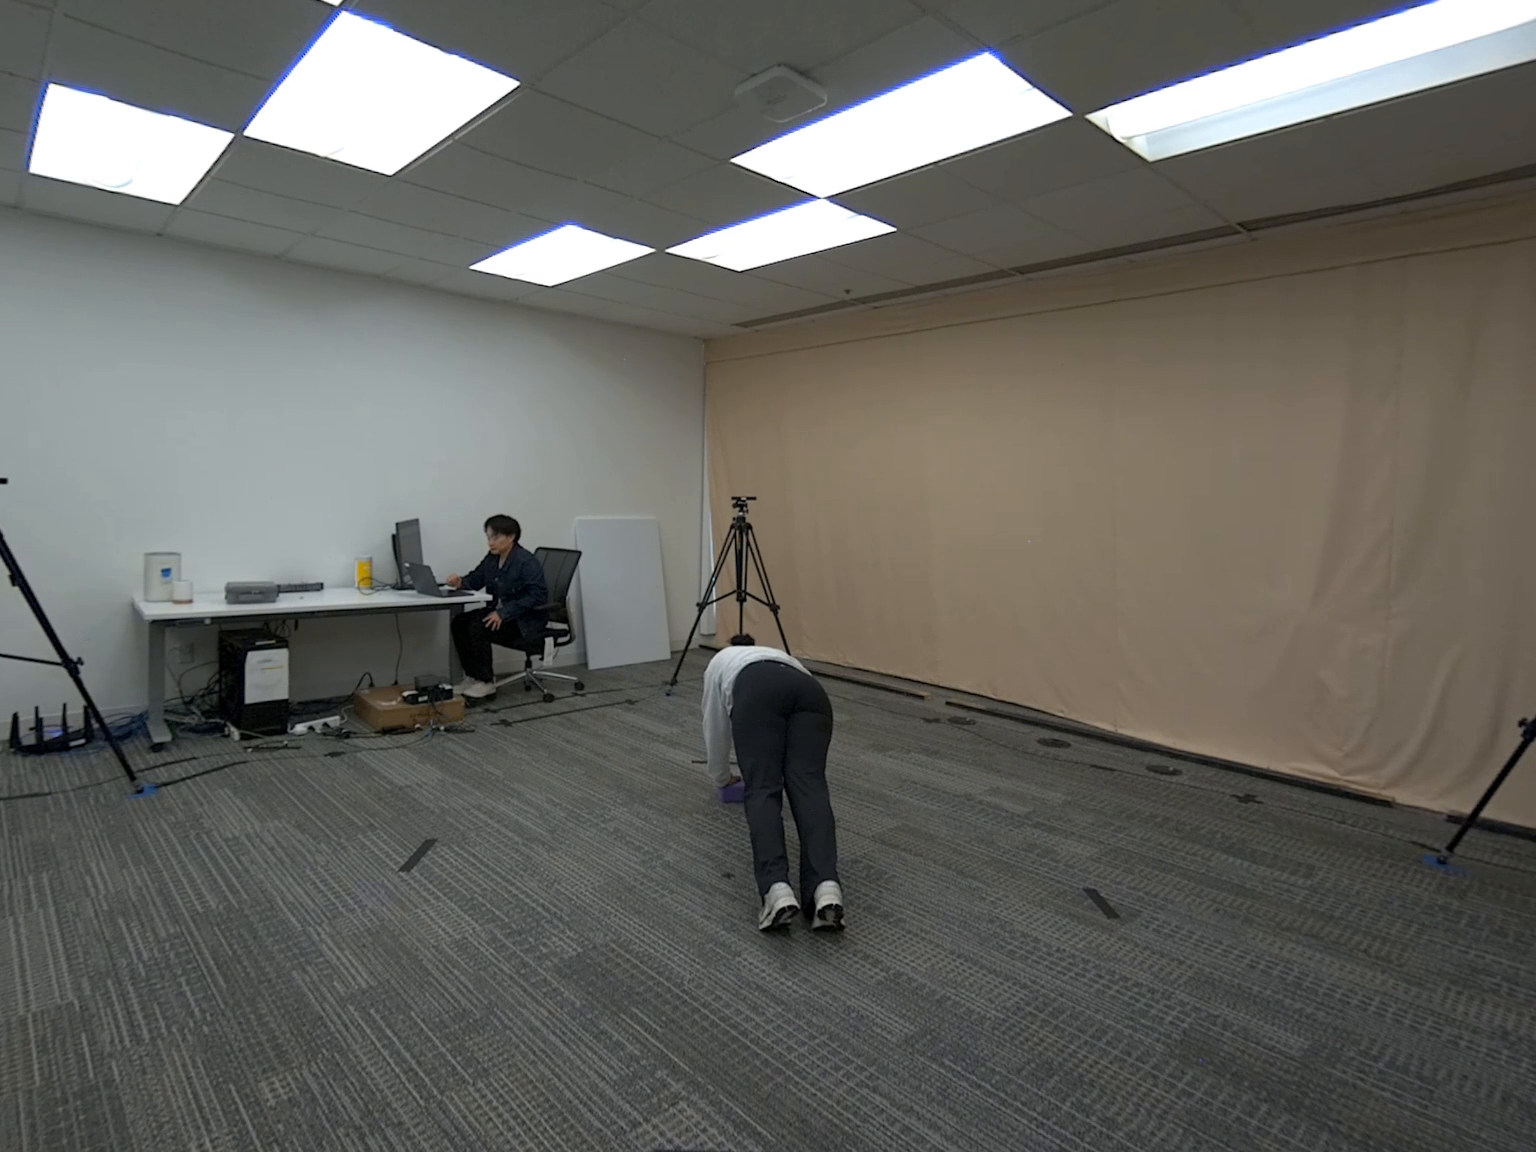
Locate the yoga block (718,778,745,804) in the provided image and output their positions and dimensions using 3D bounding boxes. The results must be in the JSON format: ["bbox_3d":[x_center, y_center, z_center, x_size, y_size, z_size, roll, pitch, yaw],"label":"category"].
[{"bbox_3d":[-0.130,1.000,3.943,0.227,0.076,0.151,-1,6,-12],"label":"yoga block"}]
